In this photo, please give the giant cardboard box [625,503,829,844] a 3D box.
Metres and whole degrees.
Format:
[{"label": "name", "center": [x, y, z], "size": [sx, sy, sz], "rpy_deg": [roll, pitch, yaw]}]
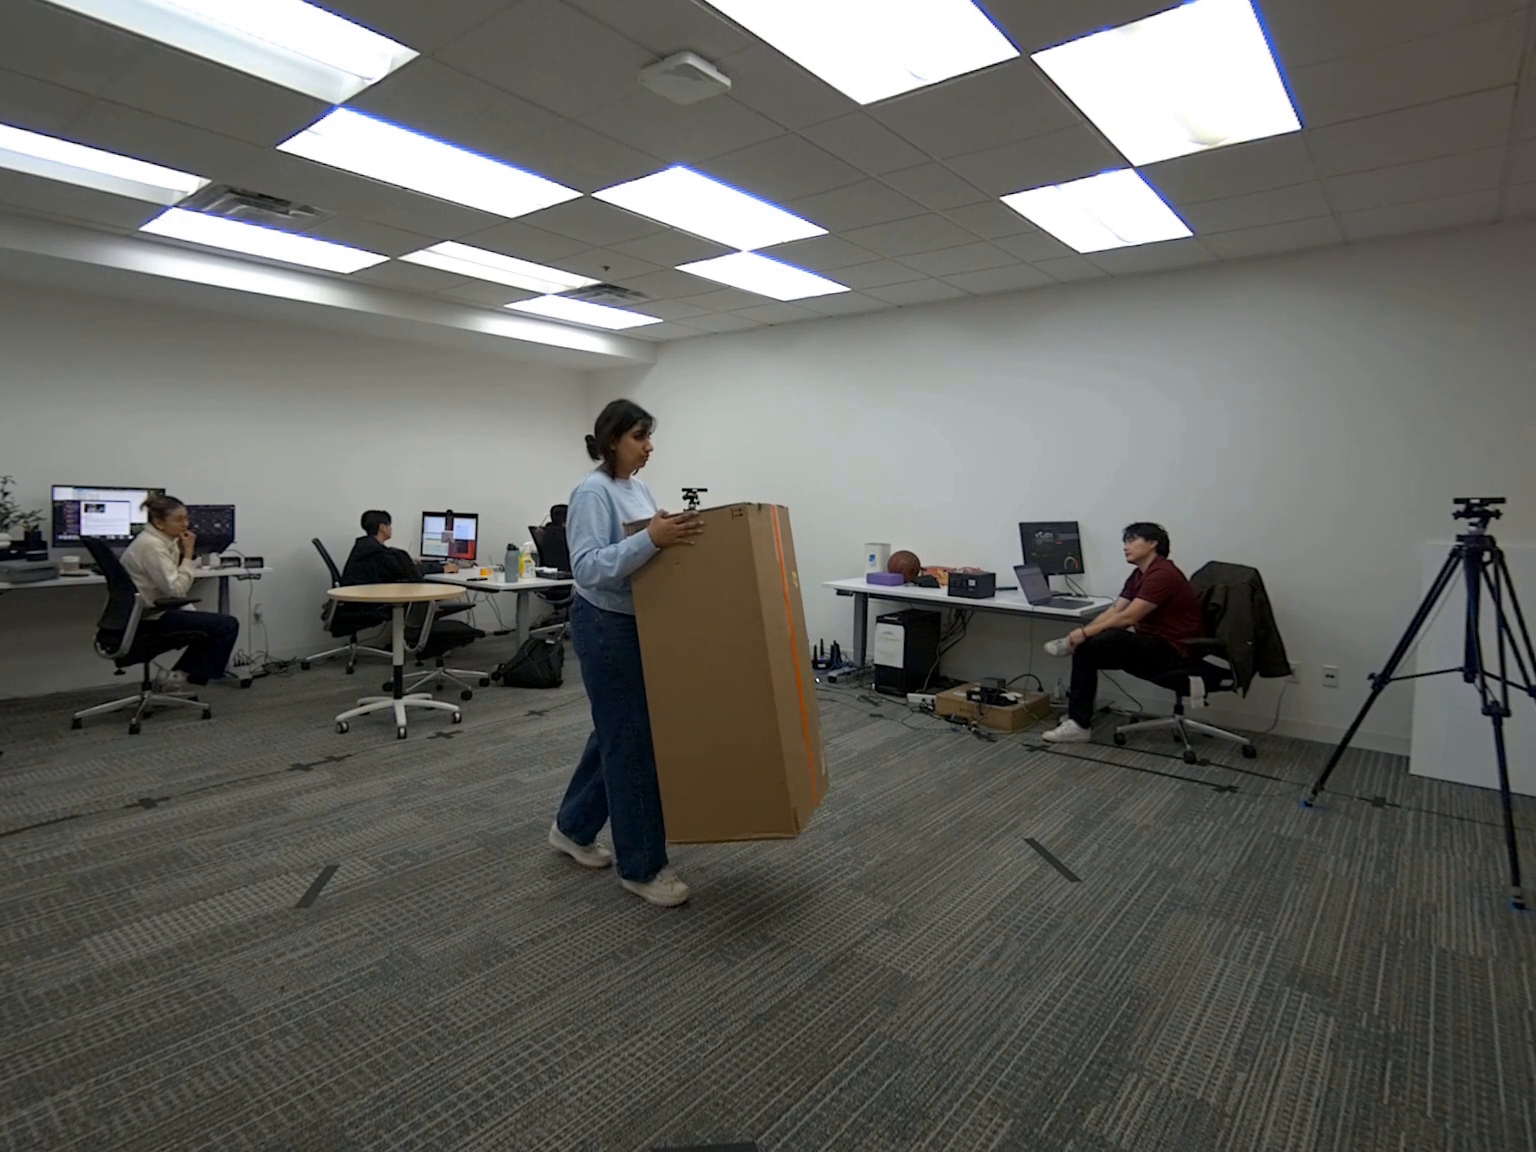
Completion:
[{"label": "giant cardboard box", "center": [-0.124, 0.295, 2.883], "size": [0.432, 1.029, 0.567], "rpy_deg": [-10, -3, 16]}]
